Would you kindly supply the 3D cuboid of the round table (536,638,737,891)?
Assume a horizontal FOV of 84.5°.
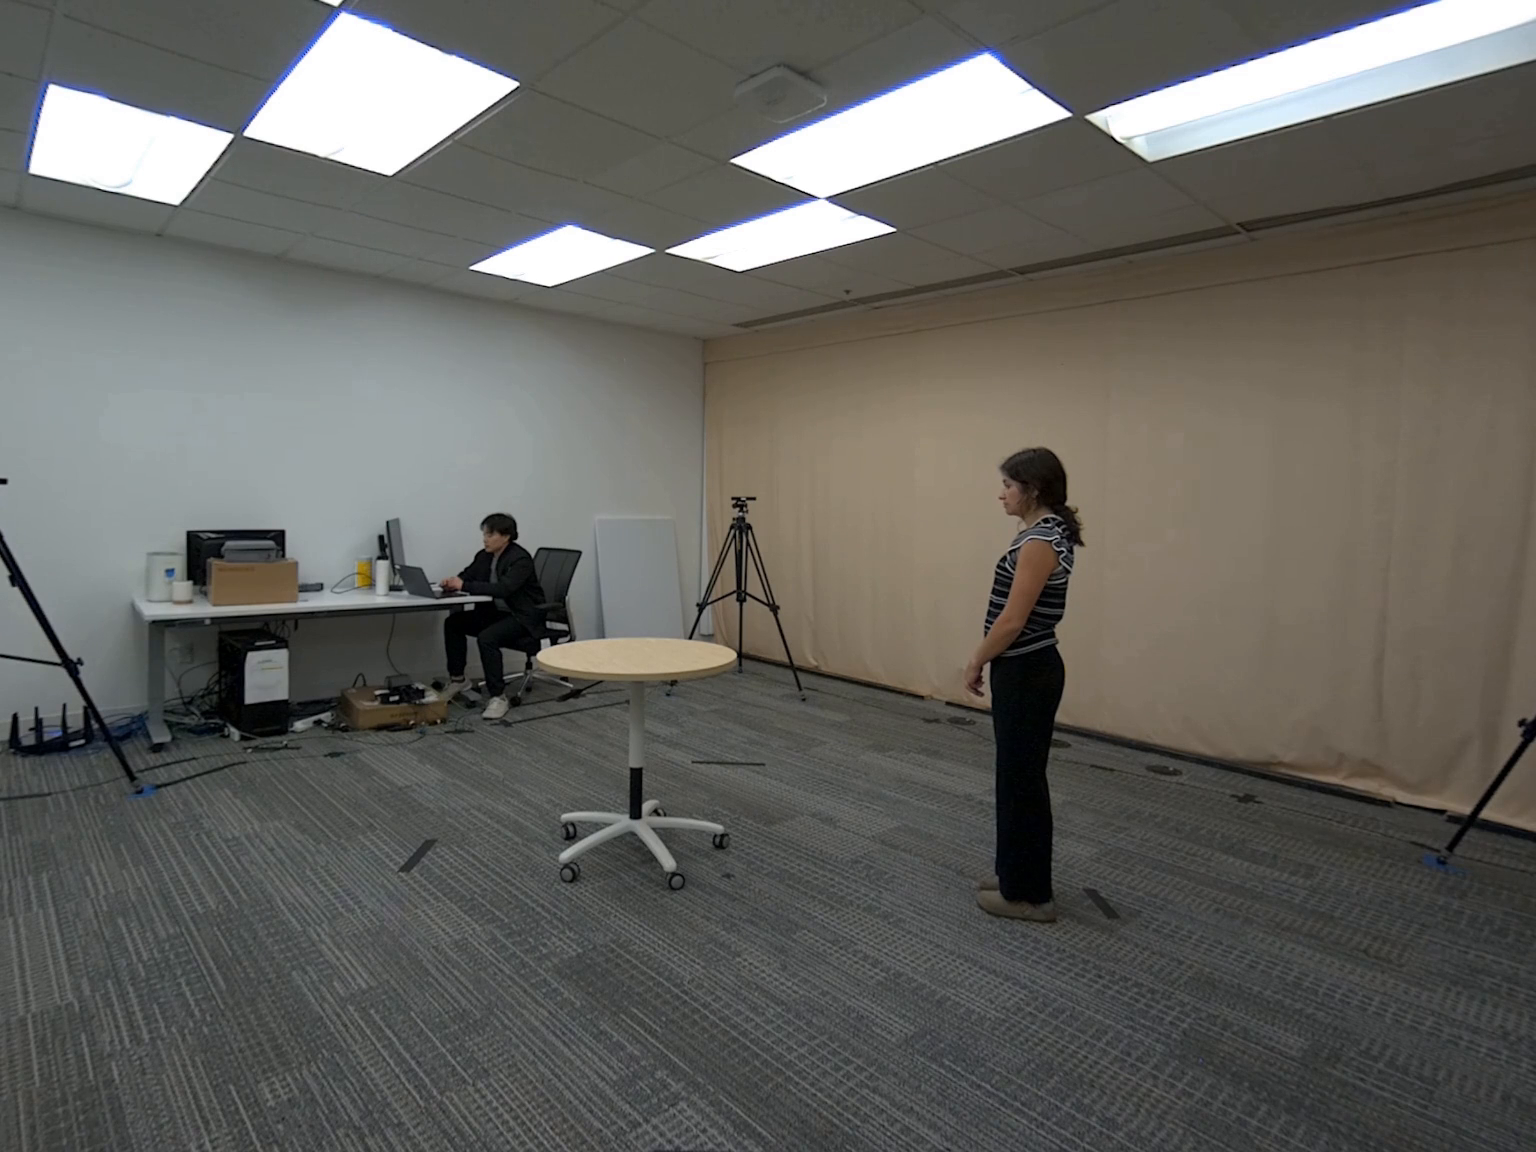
[{"bbox_3d":[-0.508,0.692,3.267,0.763,0.792,0.766,1,4,-1],"label":"round table"}]
